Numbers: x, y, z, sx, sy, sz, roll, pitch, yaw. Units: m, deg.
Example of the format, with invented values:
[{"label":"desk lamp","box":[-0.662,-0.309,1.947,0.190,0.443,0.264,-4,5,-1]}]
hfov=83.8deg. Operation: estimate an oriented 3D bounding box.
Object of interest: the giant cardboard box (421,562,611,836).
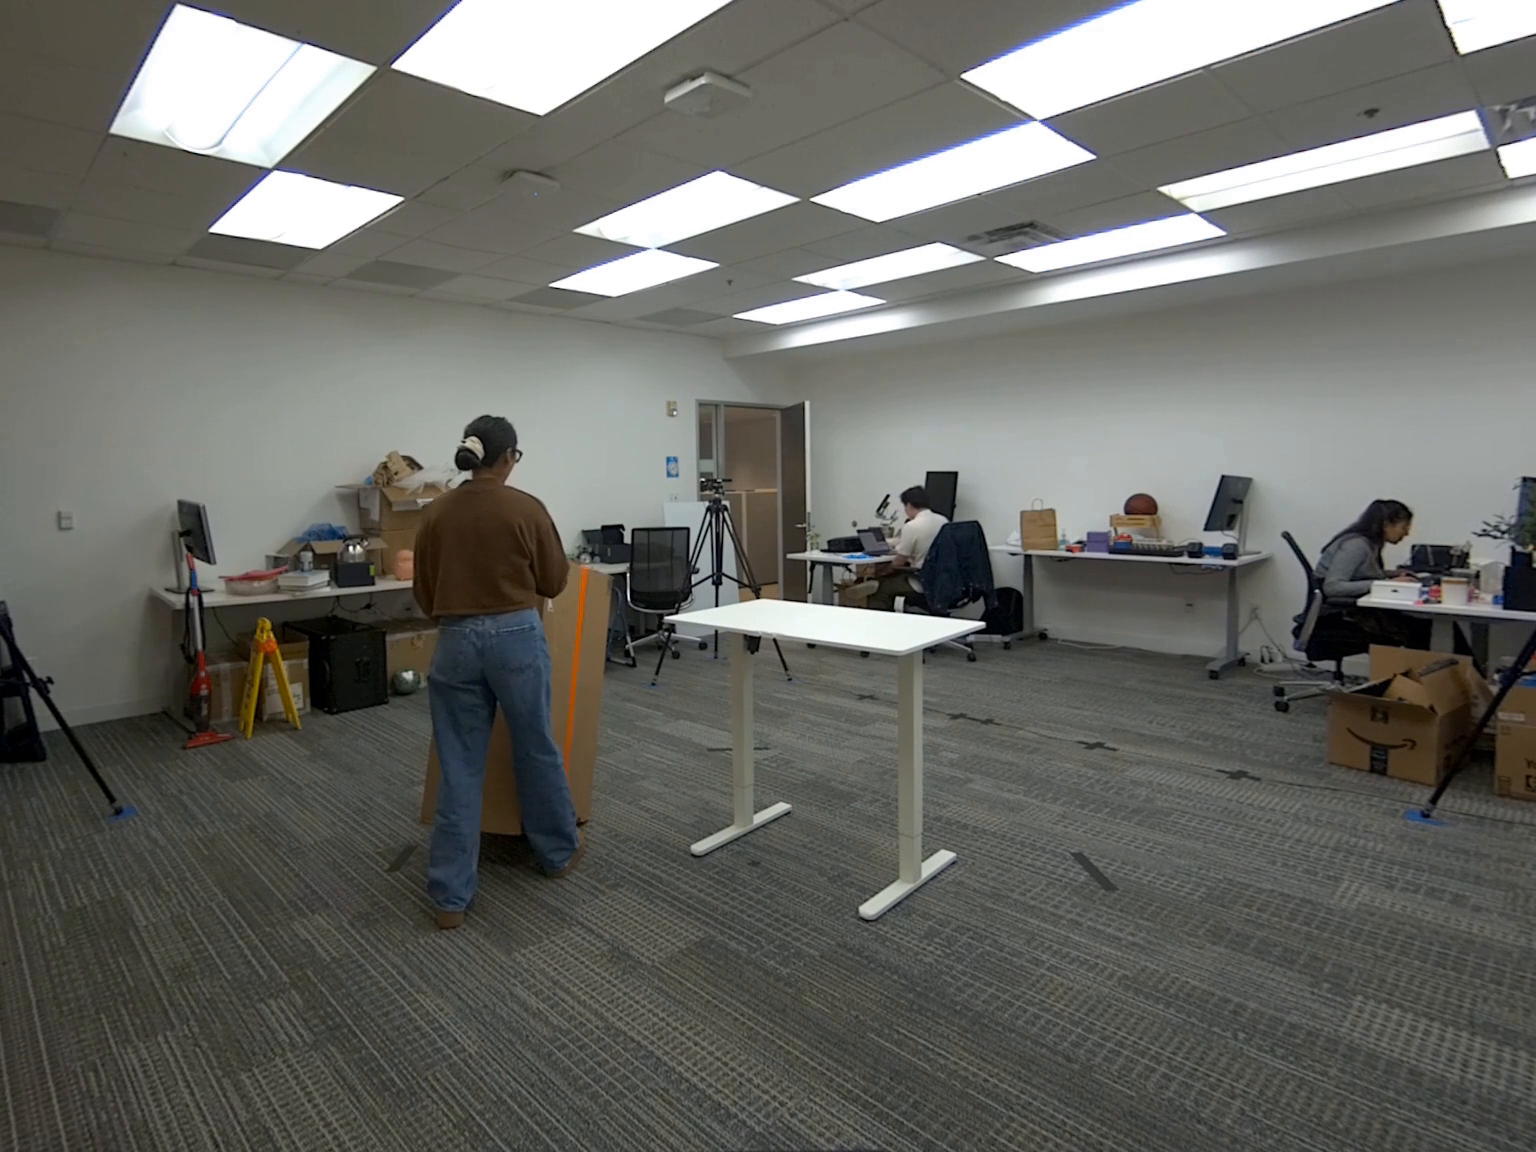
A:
[{"label":"giant cardboard box","box":[-0.983,0.457,3.446,0.433,1.036,0.563,1,-11,15]}]
